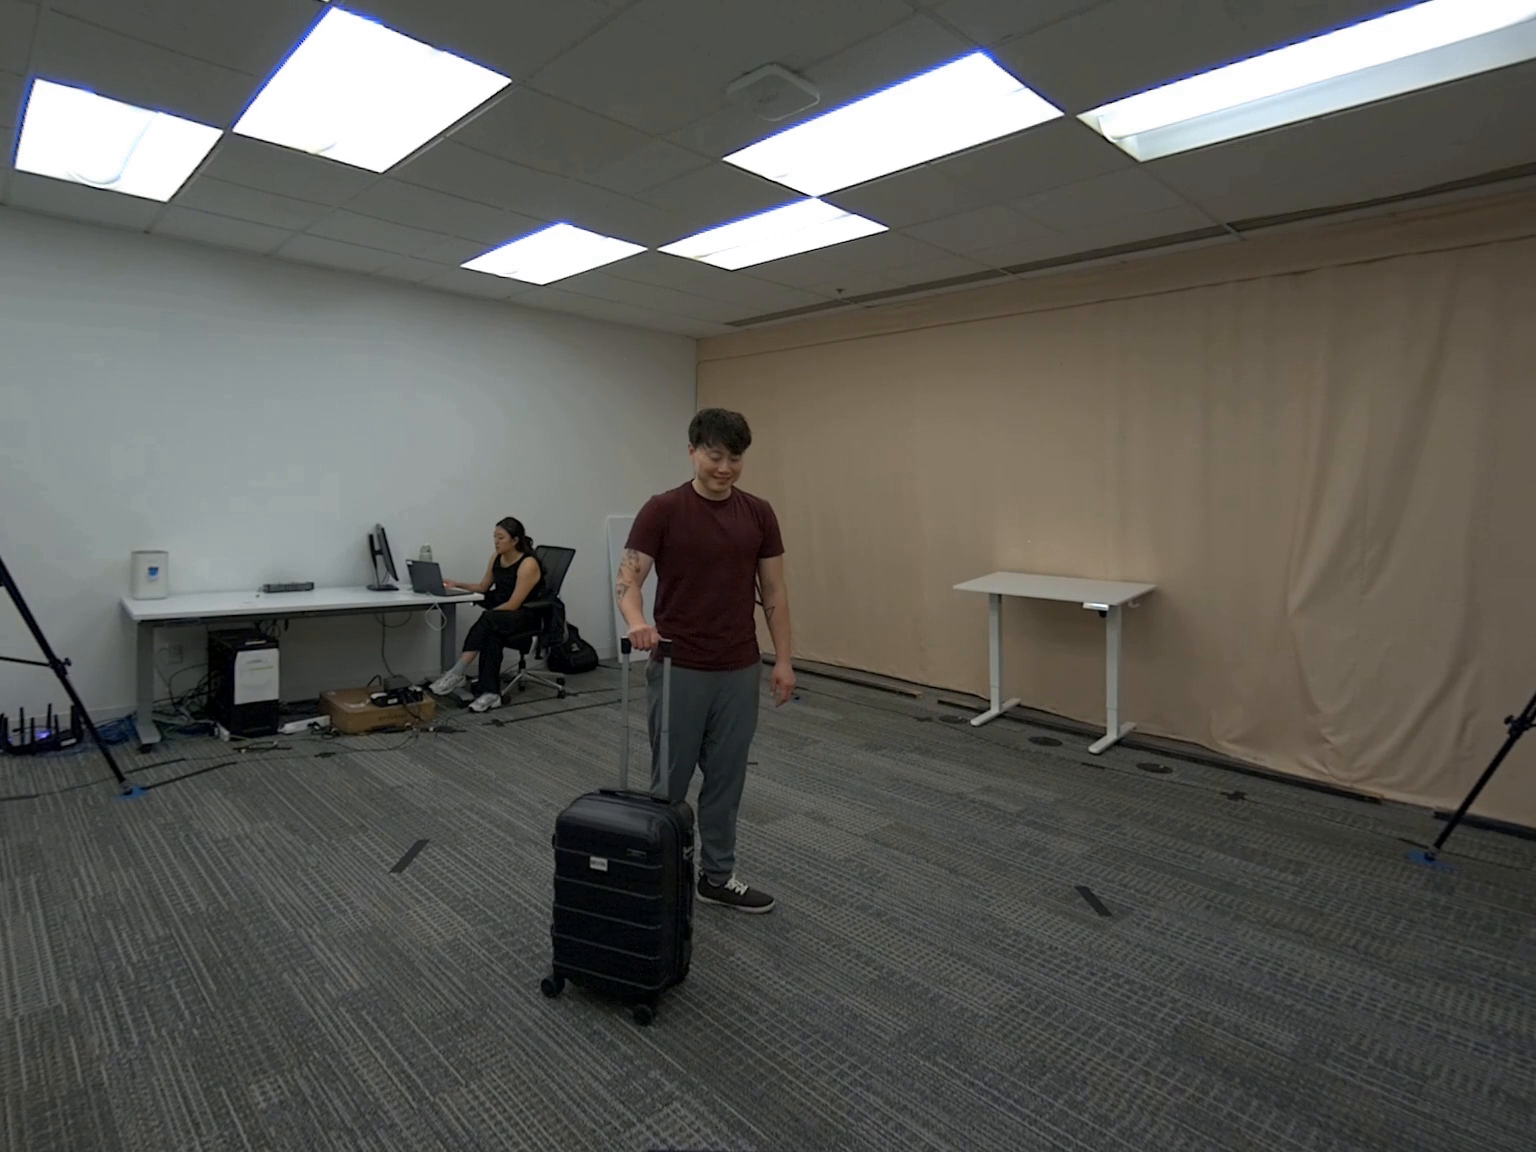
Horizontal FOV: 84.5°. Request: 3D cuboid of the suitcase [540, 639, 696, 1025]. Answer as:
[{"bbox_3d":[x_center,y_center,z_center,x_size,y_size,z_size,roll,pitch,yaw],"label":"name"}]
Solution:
[{"bbox_3d":[-0.402,0.697,2.336,0.391,0.975,0.253,4,6,21],"label":"suitcase"}]
